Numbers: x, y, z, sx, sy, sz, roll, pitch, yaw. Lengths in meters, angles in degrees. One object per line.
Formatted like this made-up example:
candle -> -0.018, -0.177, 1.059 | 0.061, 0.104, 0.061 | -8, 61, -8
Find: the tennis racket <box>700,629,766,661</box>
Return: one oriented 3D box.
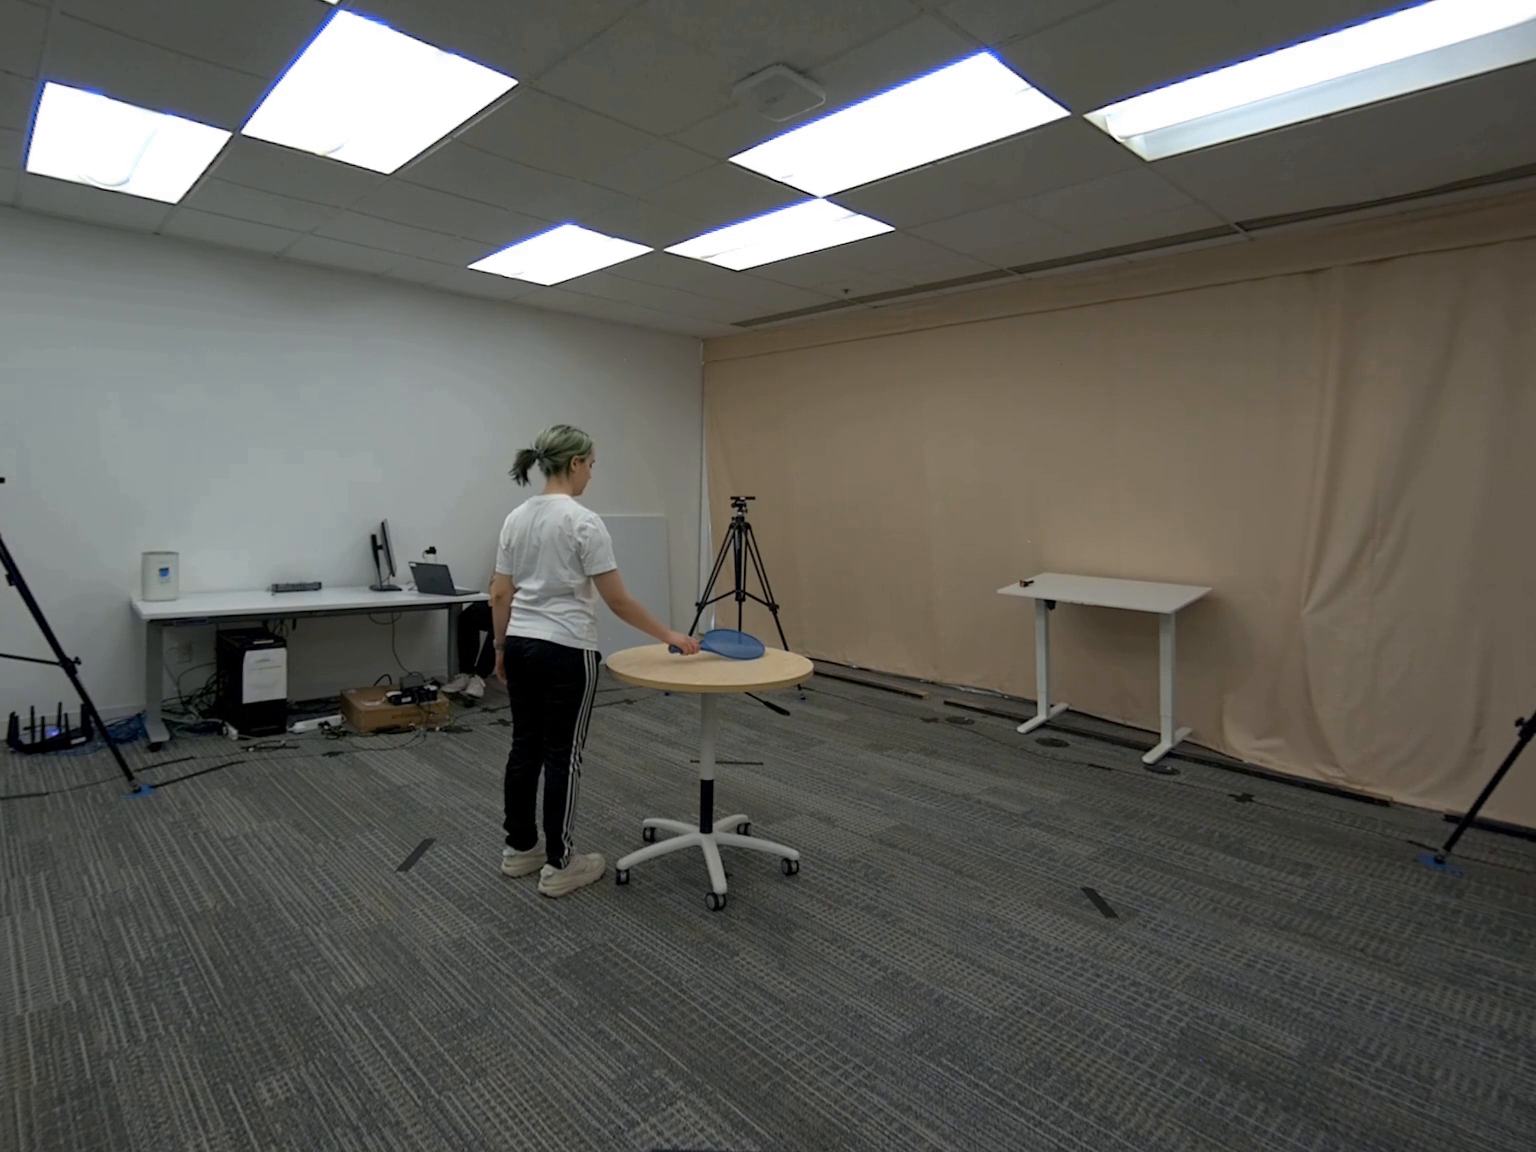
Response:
tennis racket -> -0.187, 0.269, 3.167 | 0.423, 0.031, 0.221 | -1, 25, -36
